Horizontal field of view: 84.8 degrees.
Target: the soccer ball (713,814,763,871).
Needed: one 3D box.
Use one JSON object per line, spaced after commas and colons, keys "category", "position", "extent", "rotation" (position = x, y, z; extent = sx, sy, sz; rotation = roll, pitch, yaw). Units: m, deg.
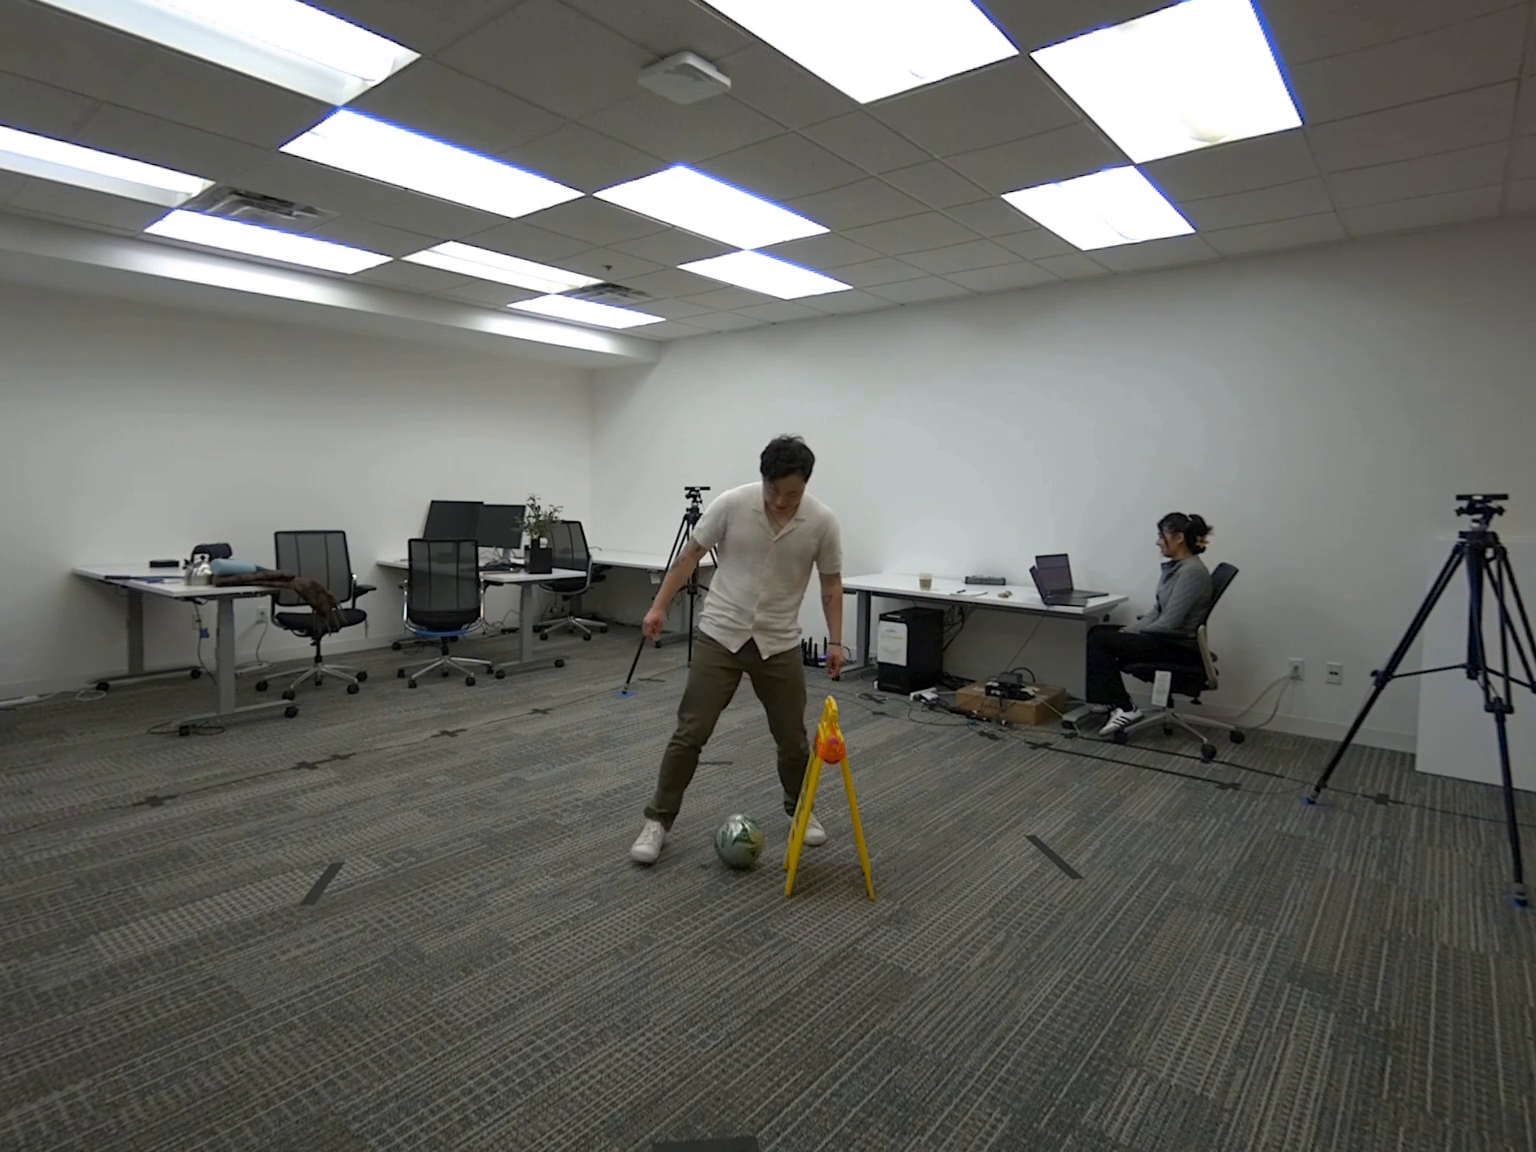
{"category": "soccer ball", "position": [-0.115, 0.969, 3.130], "extent": [0.187, 0.187, 0.188], "rotation": [0, 4, -2]}
